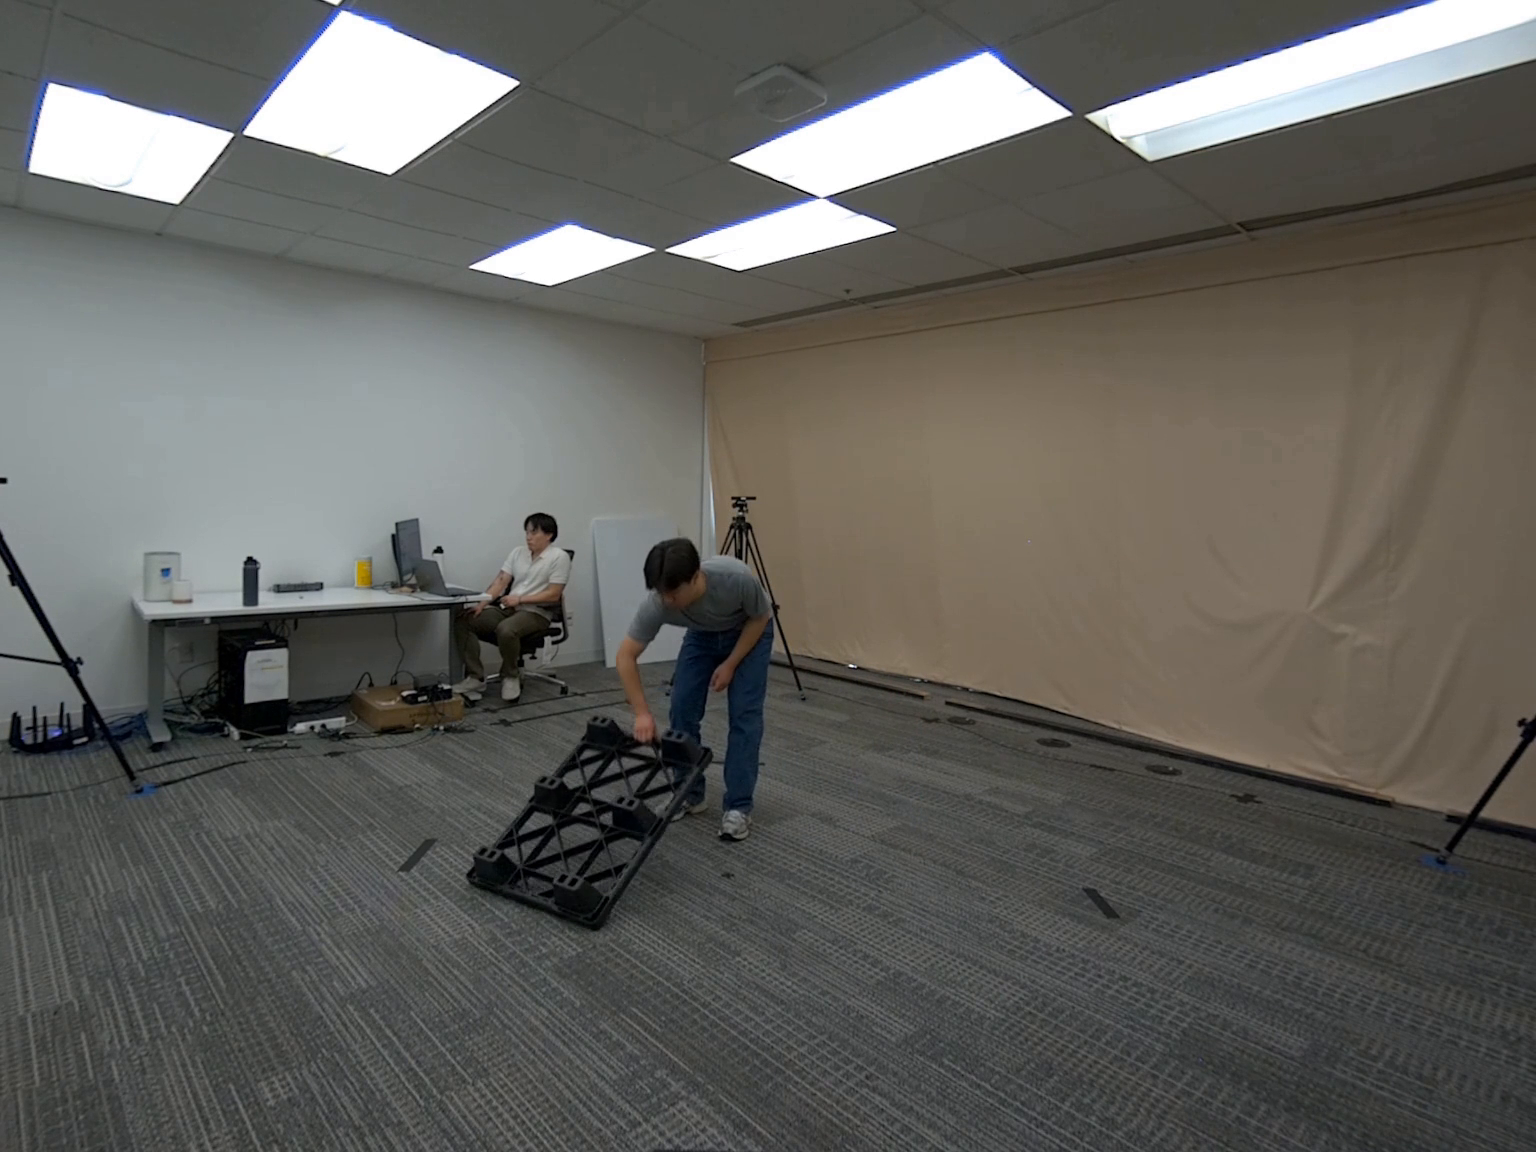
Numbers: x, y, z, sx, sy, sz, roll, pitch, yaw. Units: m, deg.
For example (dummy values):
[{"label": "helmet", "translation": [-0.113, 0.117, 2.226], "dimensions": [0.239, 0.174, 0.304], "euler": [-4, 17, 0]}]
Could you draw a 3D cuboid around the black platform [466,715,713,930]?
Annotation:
[{"label": "black platform", "translation": [-0.650, 0.843, 3.099], "dimensions": [0.618, 0.140, 0.807], "euler": [4, 35, 29]}]
